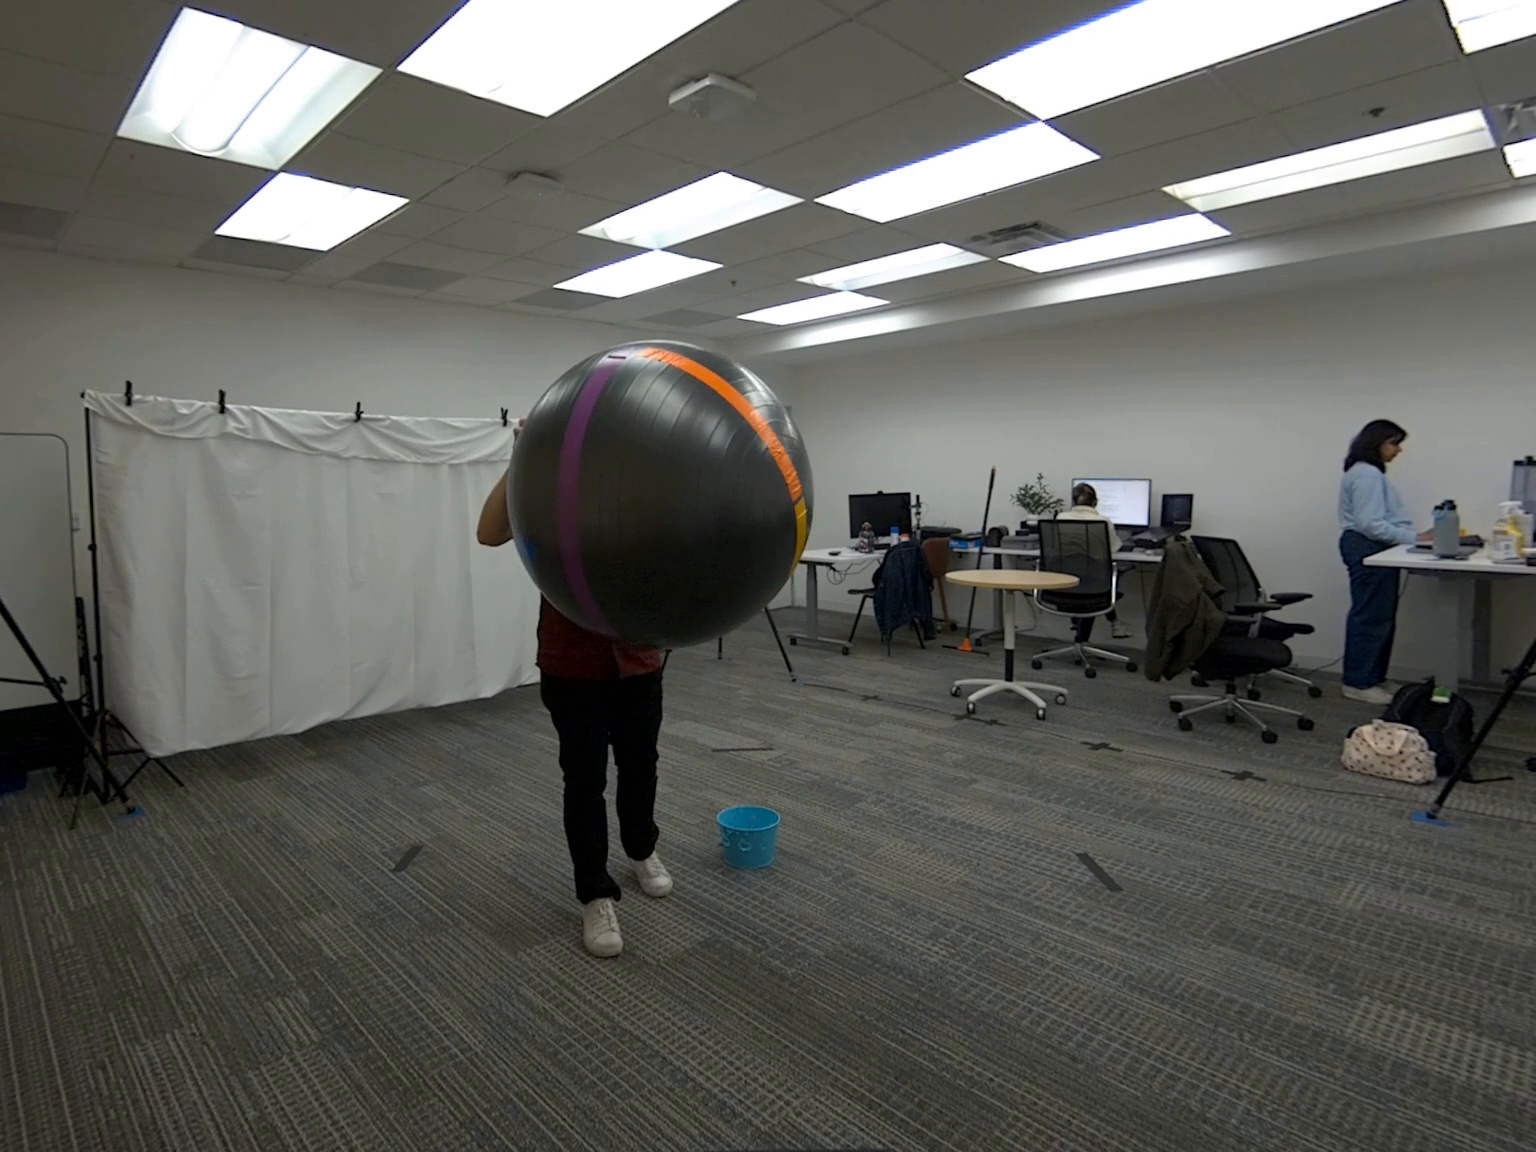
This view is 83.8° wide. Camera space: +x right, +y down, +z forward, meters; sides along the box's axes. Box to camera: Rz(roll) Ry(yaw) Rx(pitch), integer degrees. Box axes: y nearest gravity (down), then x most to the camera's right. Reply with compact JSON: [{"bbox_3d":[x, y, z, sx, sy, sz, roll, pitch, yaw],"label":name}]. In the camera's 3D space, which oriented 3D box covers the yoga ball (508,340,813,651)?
[{"bbox_3d":[-0.264,-0.190,2.131,0.757,0.755,0.762,-1,5,-2],"label":"yoga ball"}]
